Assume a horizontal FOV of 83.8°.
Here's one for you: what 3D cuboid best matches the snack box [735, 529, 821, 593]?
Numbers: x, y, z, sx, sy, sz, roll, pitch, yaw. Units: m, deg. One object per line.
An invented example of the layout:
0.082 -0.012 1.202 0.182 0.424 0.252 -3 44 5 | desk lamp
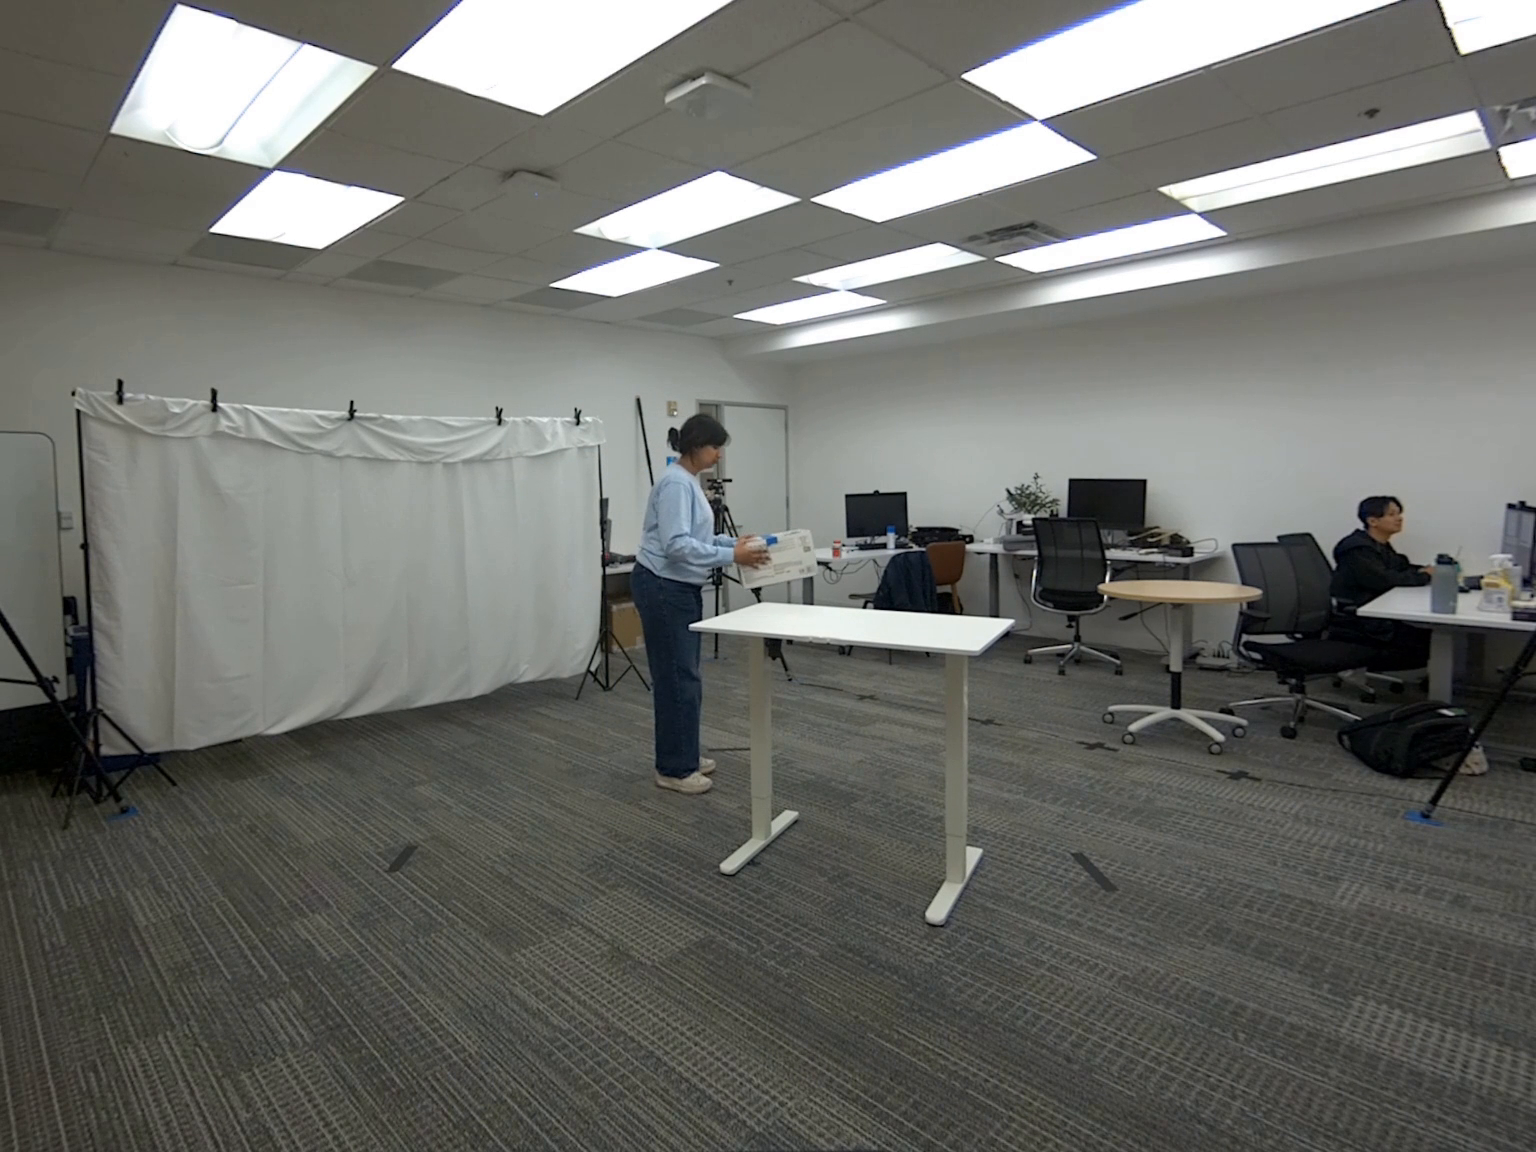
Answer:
0.024 -0.080 3.946 0.340 0.205 0.407 -12 4 -3 | snack box
